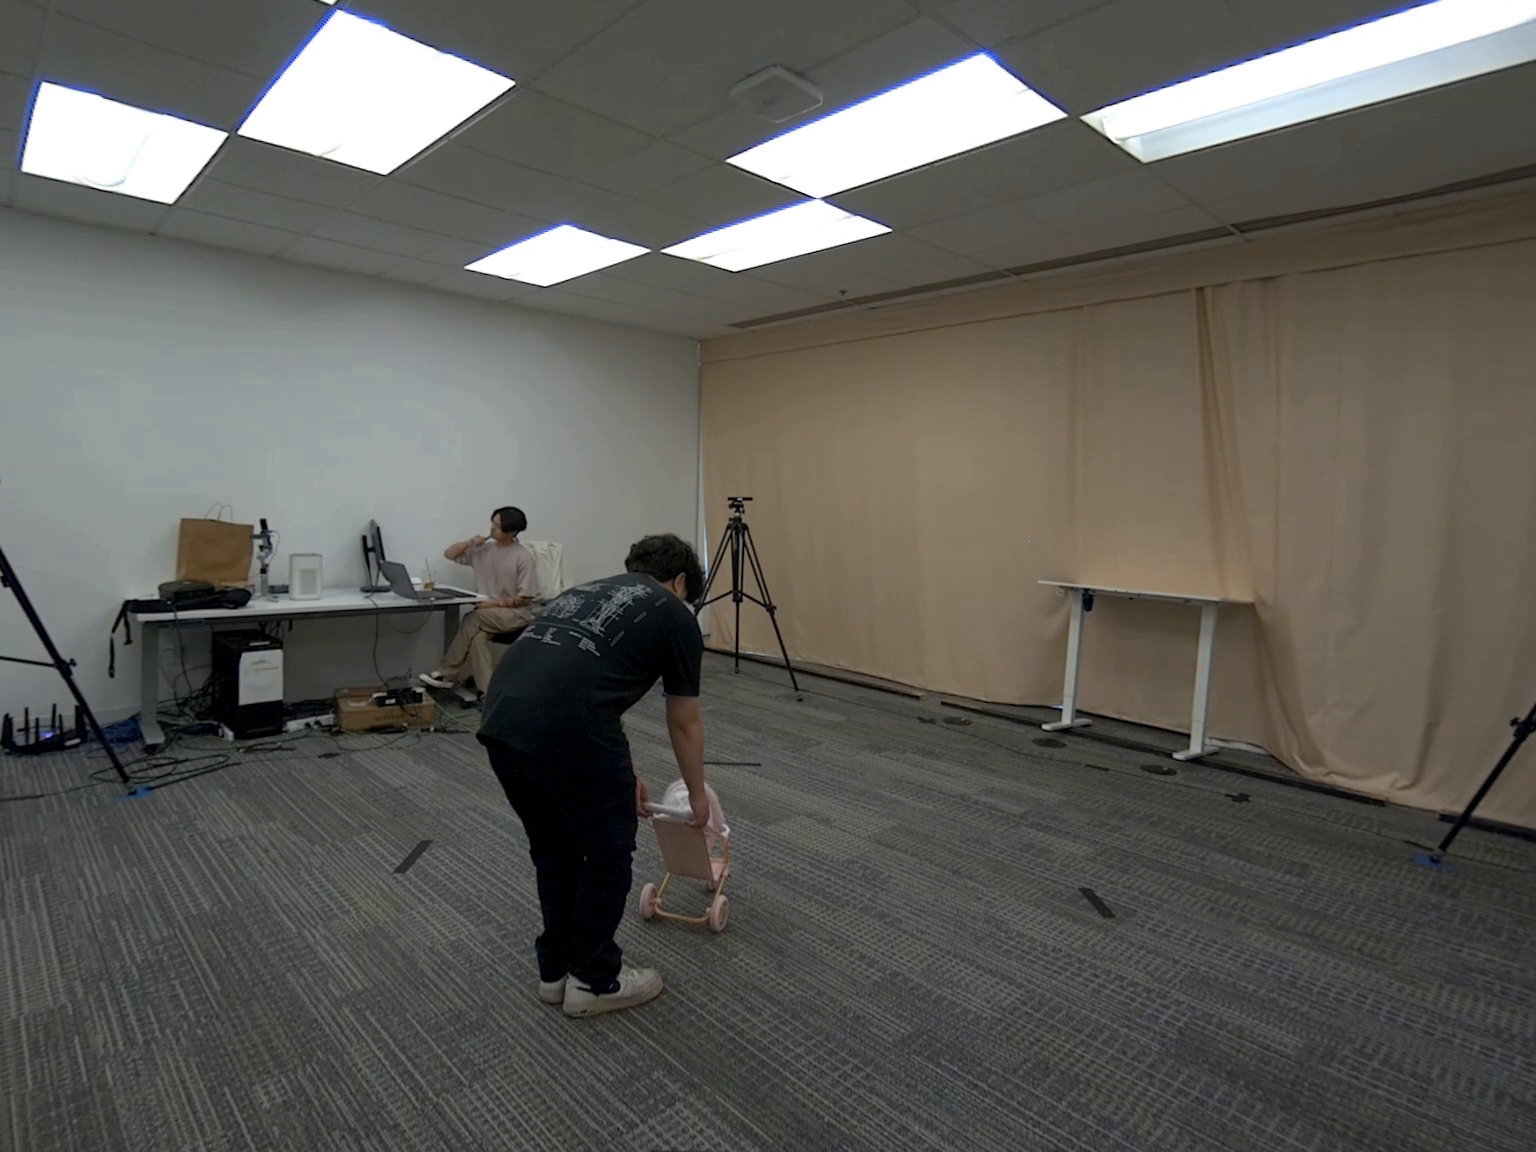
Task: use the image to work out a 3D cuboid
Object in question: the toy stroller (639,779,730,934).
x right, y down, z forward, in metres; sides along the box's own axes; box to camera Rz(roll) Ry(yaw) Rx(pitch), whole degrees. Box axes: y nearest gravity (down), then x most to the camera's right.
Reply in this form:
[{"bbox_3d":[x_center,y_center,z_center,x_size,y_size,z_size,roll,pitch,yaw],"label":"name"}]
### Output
[{"bbox_3d":[-0.255,0.909,2.797,0.286,0.528,0.340,4,19,21],"label":"toy stroller"}]
